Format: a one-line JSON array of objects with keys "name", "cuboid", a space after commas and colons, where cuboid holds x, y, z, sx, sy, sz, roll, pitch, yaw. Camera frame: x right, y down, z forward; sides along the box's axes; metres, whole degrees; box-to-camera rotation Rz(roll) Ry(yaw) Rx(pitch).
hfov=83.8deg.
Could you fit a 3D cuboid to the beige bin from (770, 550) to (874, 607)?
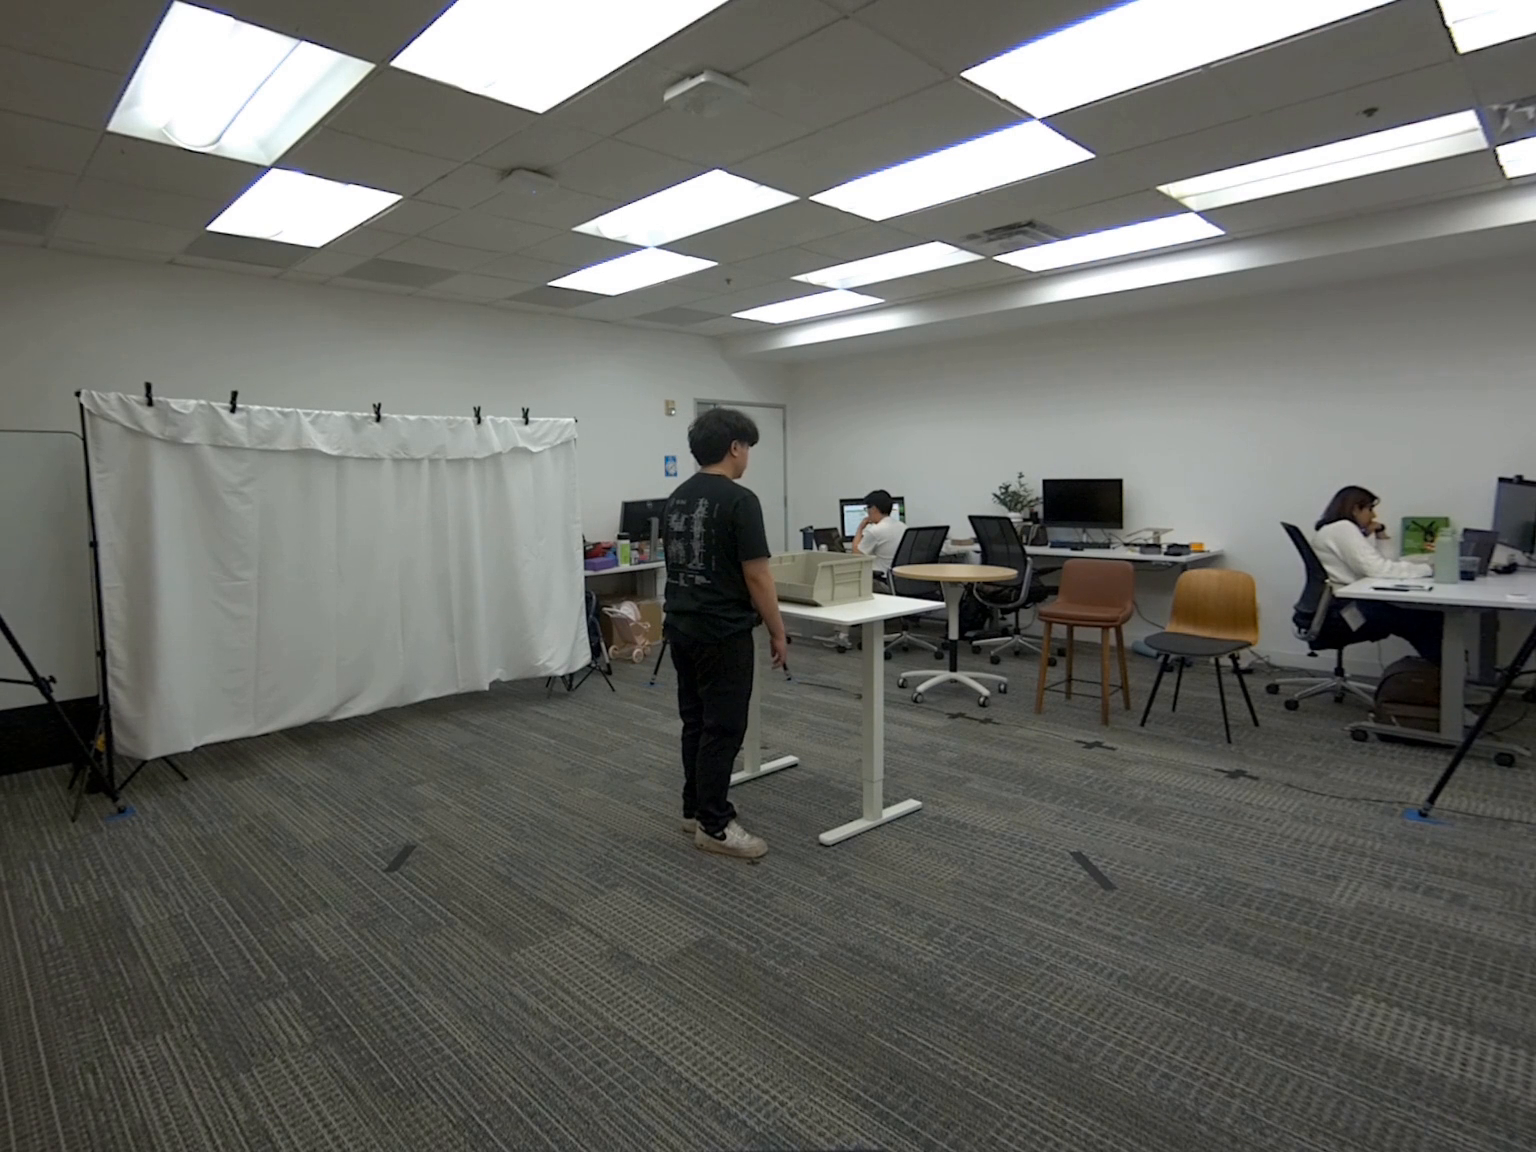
[{"name": "beige bin", "cuboid": [0.179, 0.008, 3.624, 0.367, 0.188, 0.435, -5, 8, -40]}]
